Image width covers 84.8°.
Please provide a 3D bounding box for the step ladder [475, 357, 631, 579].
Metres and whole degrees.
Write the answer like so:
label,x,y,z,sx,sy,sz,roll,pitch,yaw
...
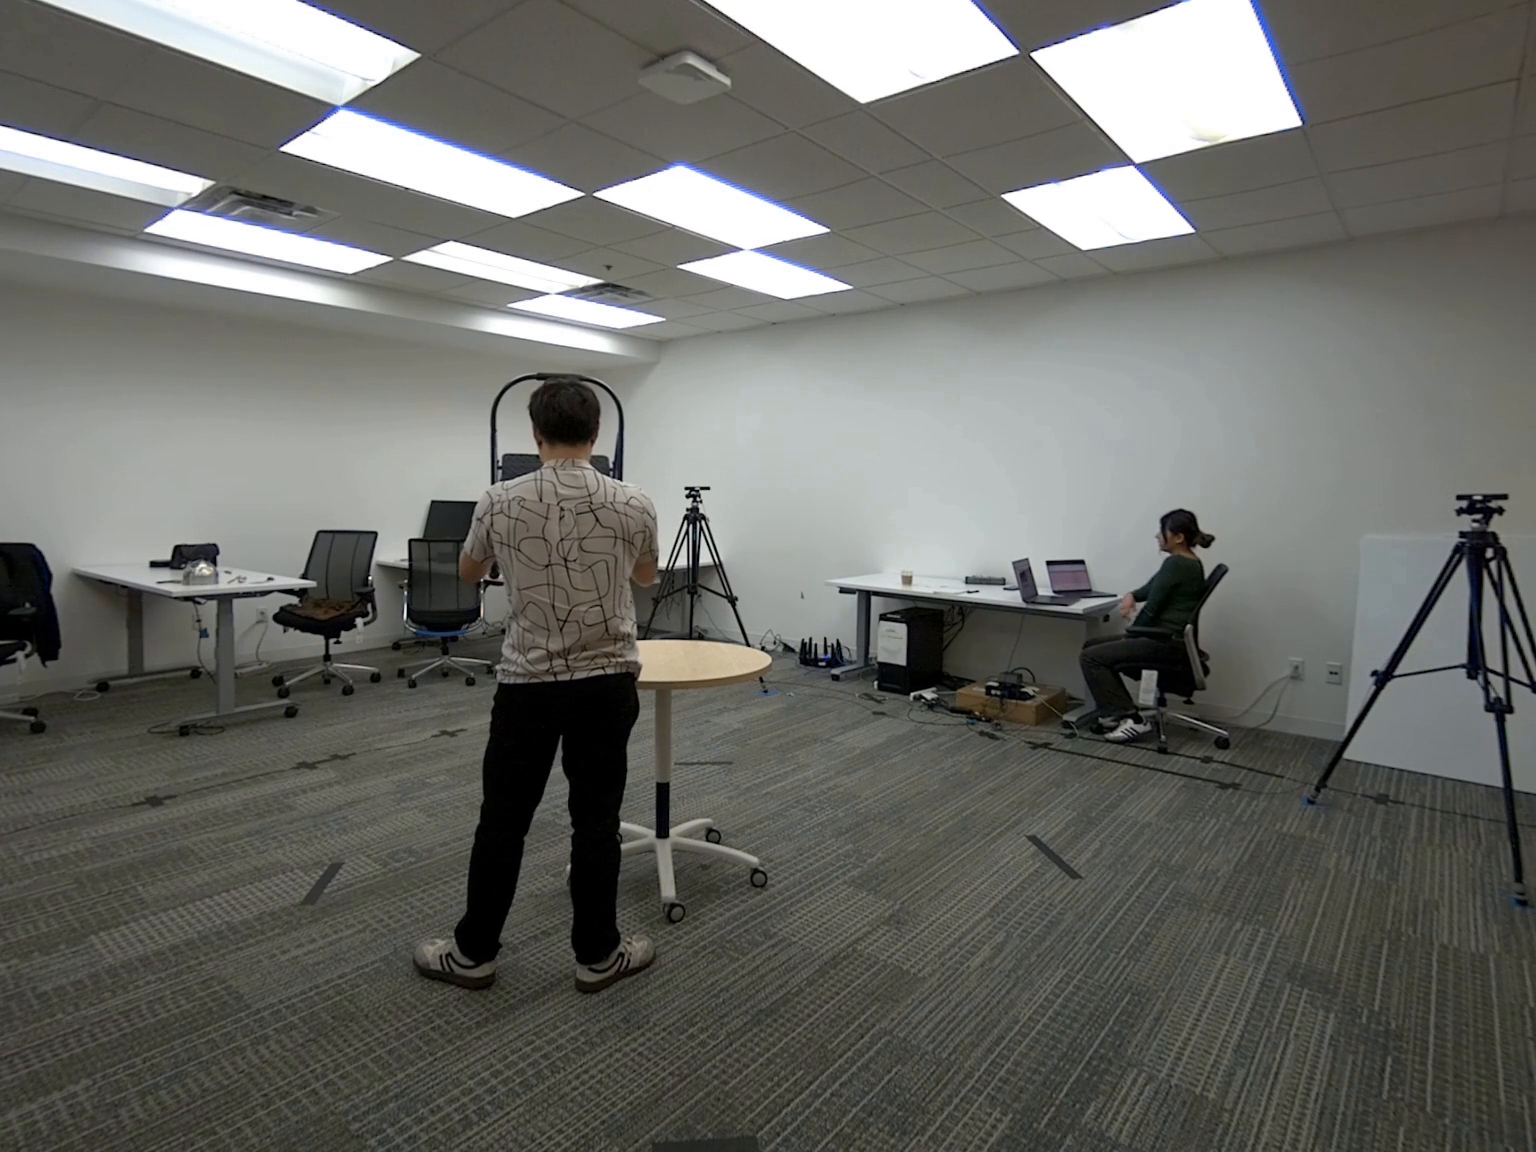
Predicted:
label,x,y,z,sx,sy,sz,roll,pitch,yaw
step ladder,-0.690,-0.339,2.698,0.425,0.593,0.362,0,42,-13
